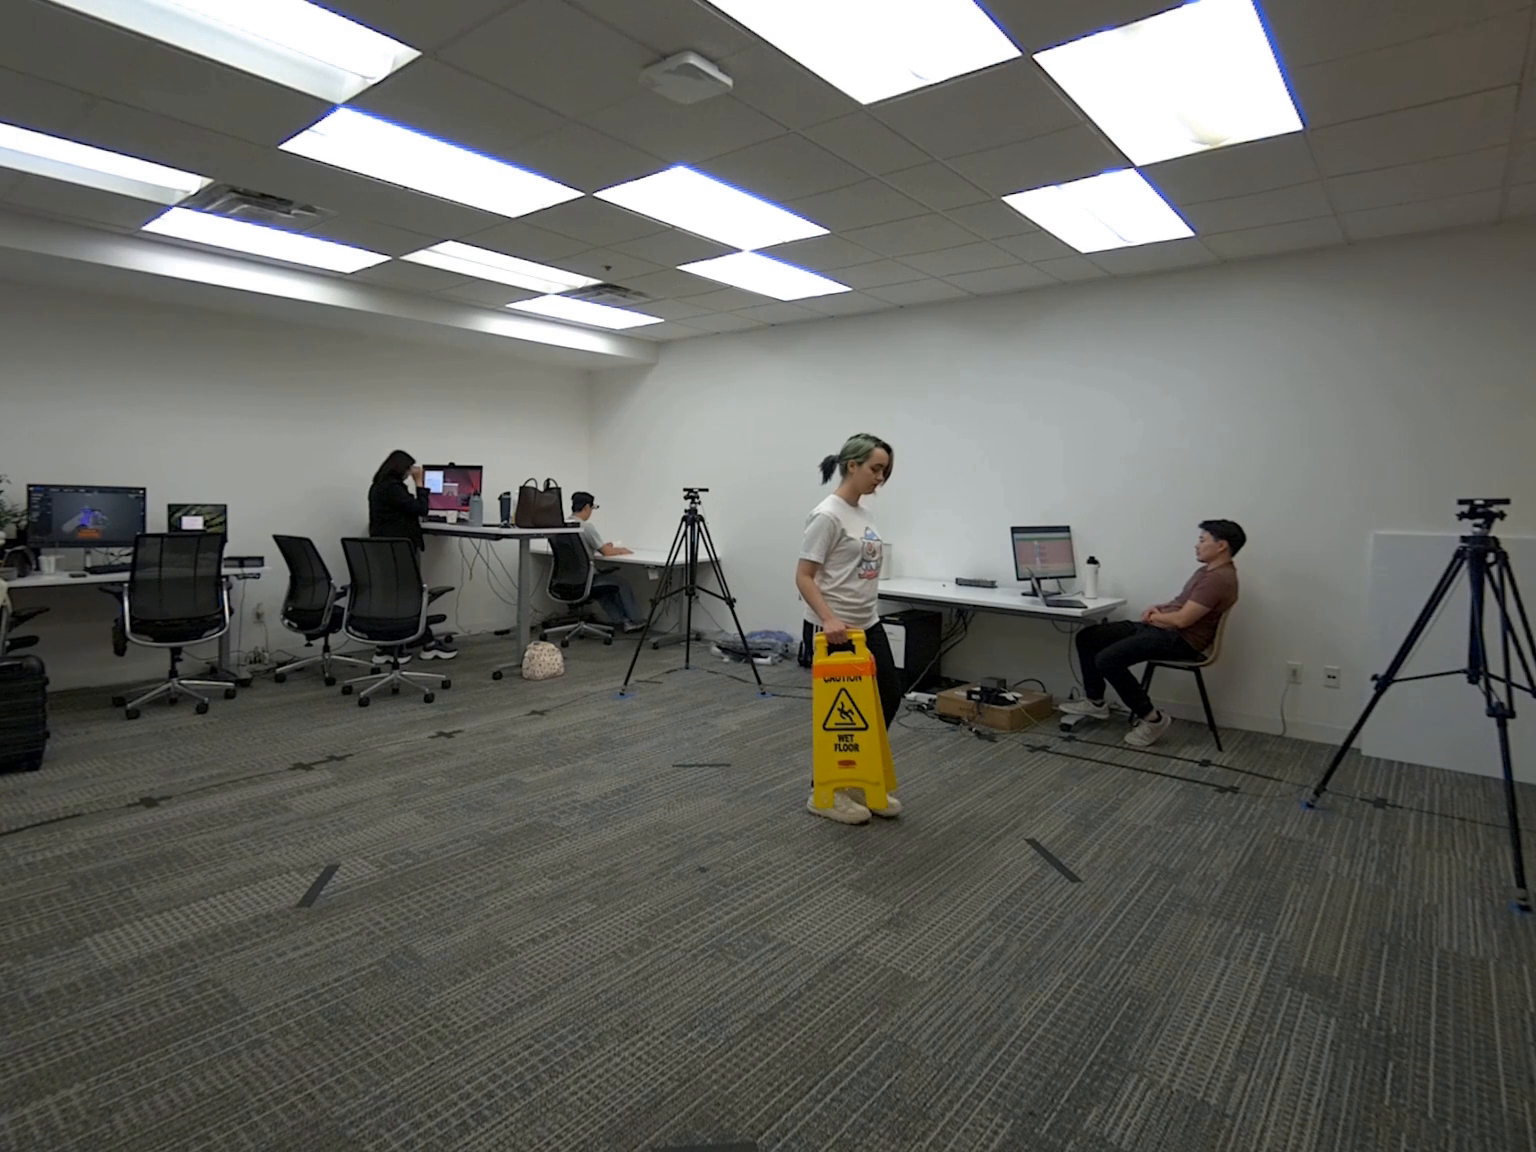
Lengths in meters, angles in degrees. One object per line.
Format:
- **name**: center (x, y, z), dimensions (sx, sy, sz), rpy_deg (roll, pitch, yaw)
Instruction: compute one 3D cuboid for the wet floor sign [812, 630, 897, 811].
- **wet floor sign**: center (0.303, 0.540, 3.305), dimensions (0.287, 0.646, 0.284), rpy_deg (-7, 0, 19)
